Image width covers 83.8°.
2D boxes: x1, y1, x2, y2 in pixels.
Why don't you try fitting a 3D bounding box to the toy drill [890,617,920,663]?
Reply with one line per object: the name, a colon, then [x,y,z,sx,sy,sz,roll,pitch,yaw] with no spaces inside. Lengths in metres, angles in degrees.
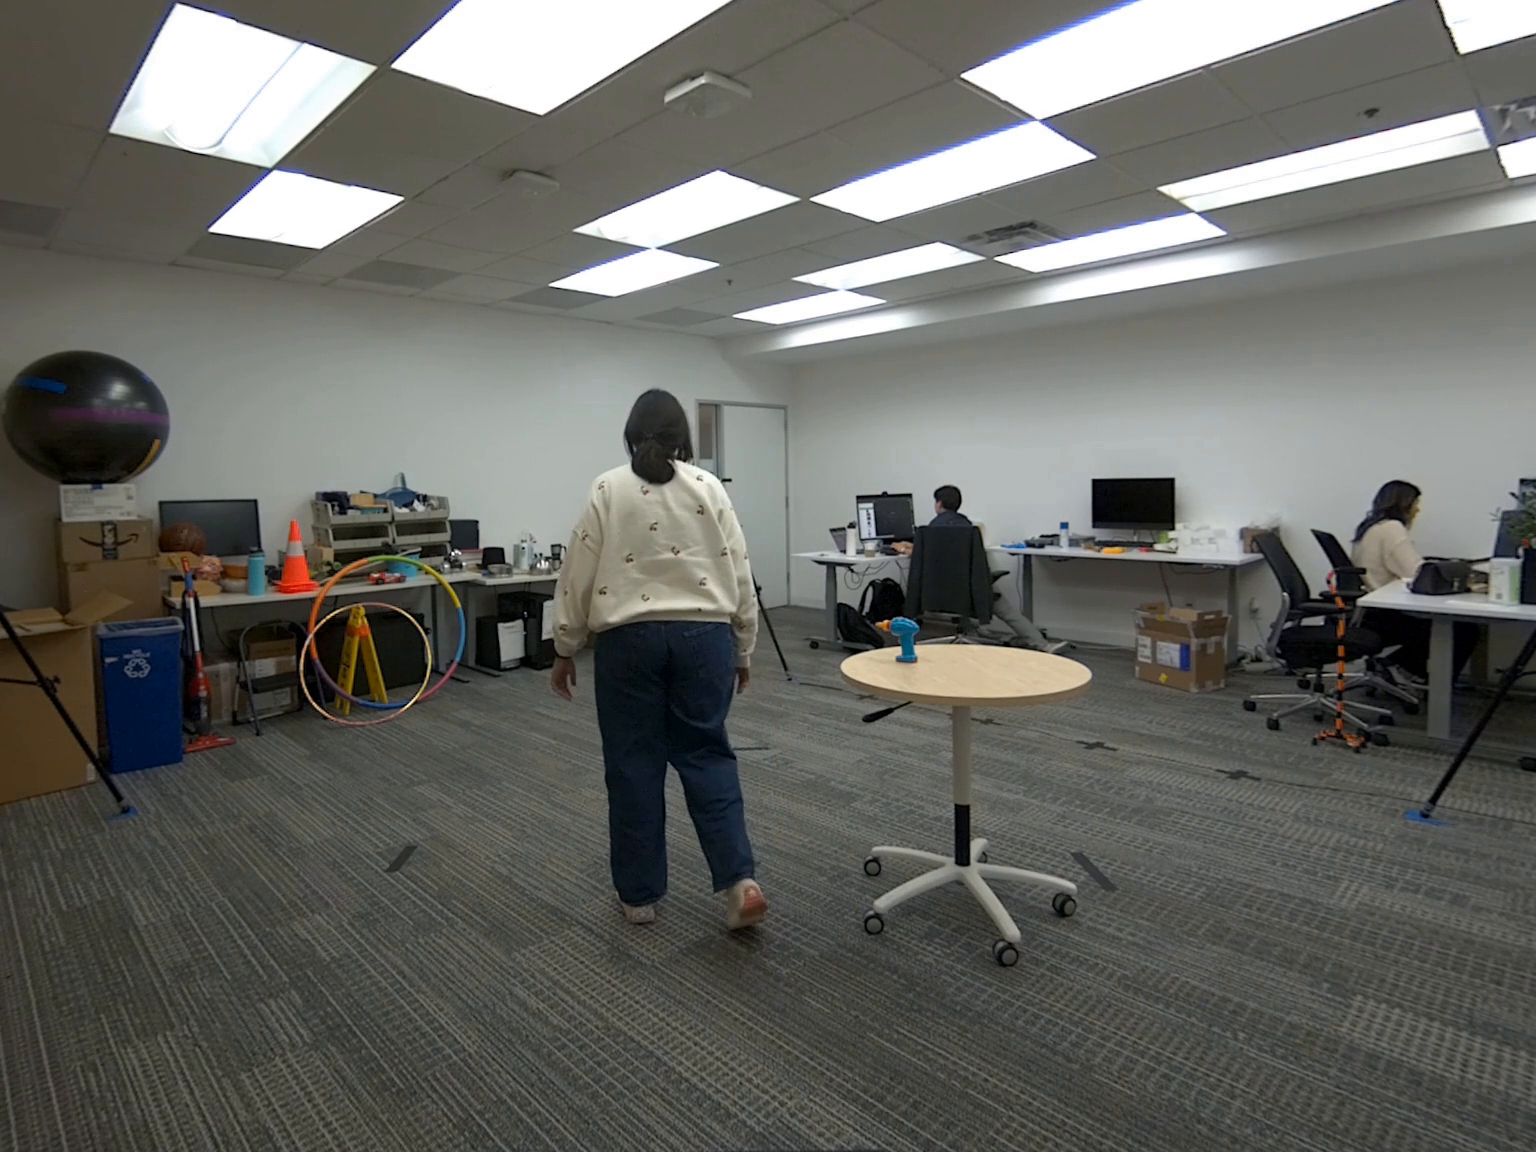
toy drill: [0.434,0.210,2.862,0.175,0.145,0.059,5,5,44]
